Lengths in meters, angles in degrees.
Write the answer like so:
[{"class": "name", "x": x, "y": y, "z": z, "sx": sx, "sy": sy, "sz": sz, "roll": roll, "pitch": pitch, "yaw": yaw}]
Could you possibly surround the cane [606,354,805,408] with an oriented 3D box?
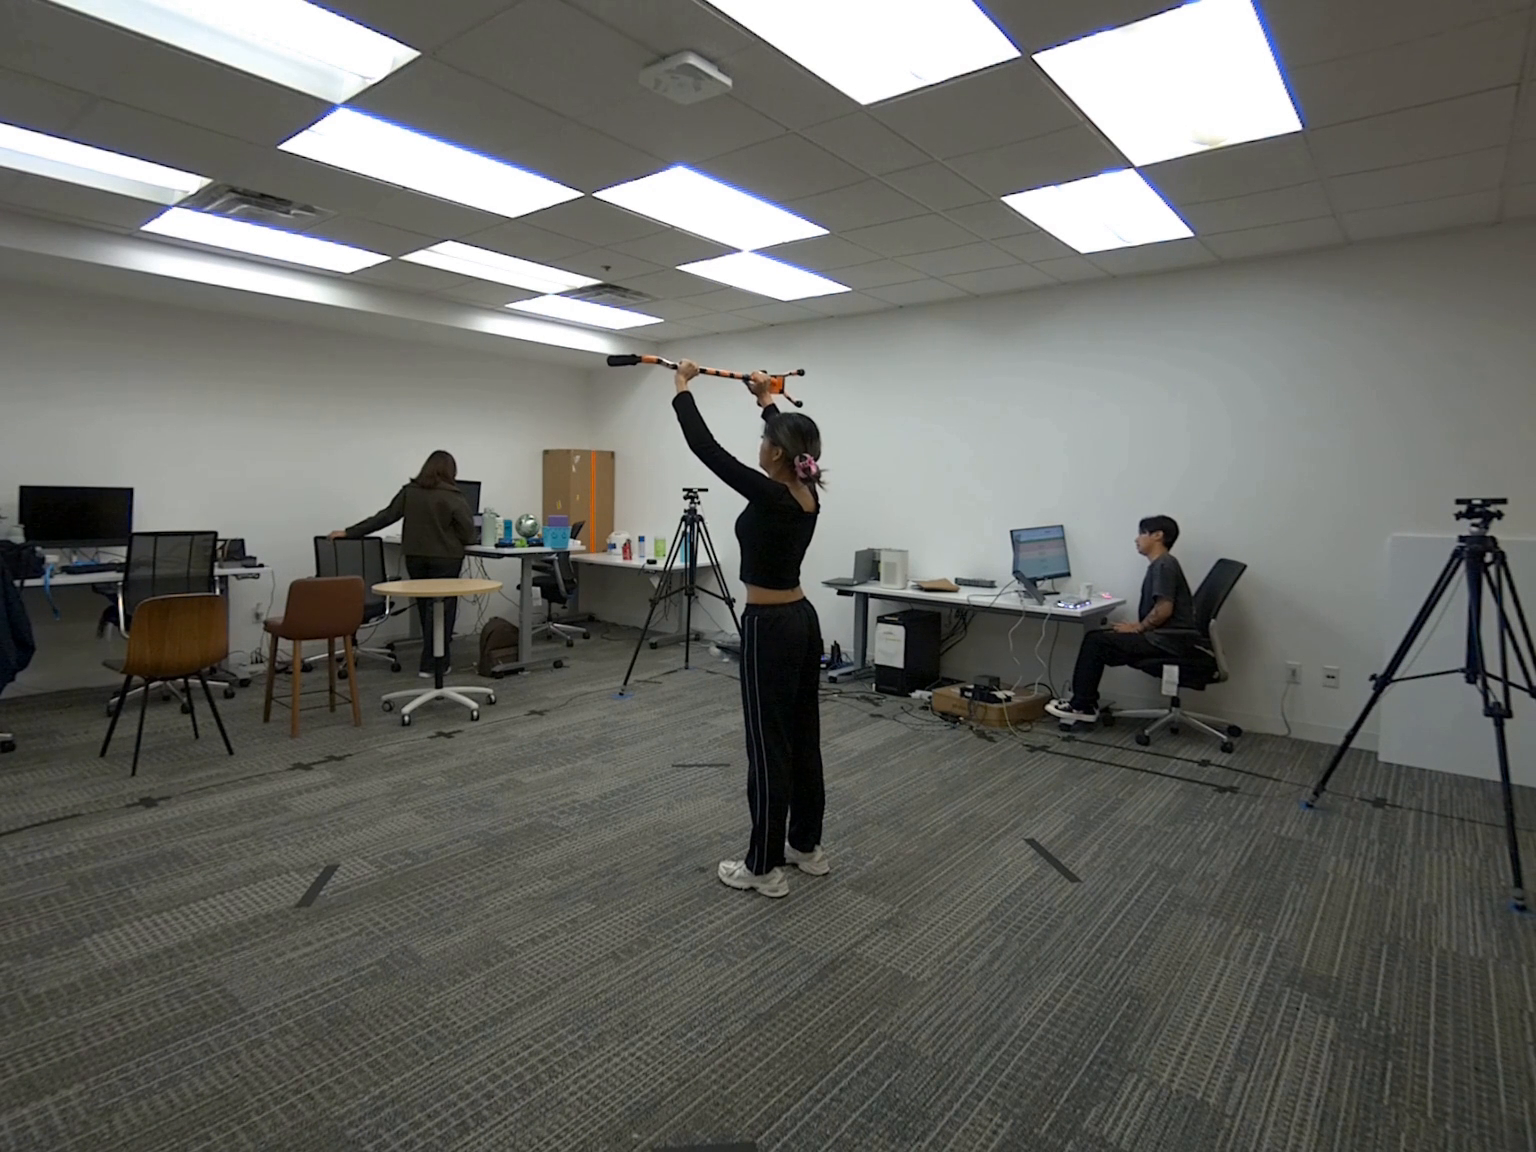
[{"class": "cane", "x": -0.200, "y": -0.715, "z": 3.043, "sx": 0.213, "sy": 0.150, "sz": 0.883, "roll": 8, "pitch": 10, "yaw": 34}]
